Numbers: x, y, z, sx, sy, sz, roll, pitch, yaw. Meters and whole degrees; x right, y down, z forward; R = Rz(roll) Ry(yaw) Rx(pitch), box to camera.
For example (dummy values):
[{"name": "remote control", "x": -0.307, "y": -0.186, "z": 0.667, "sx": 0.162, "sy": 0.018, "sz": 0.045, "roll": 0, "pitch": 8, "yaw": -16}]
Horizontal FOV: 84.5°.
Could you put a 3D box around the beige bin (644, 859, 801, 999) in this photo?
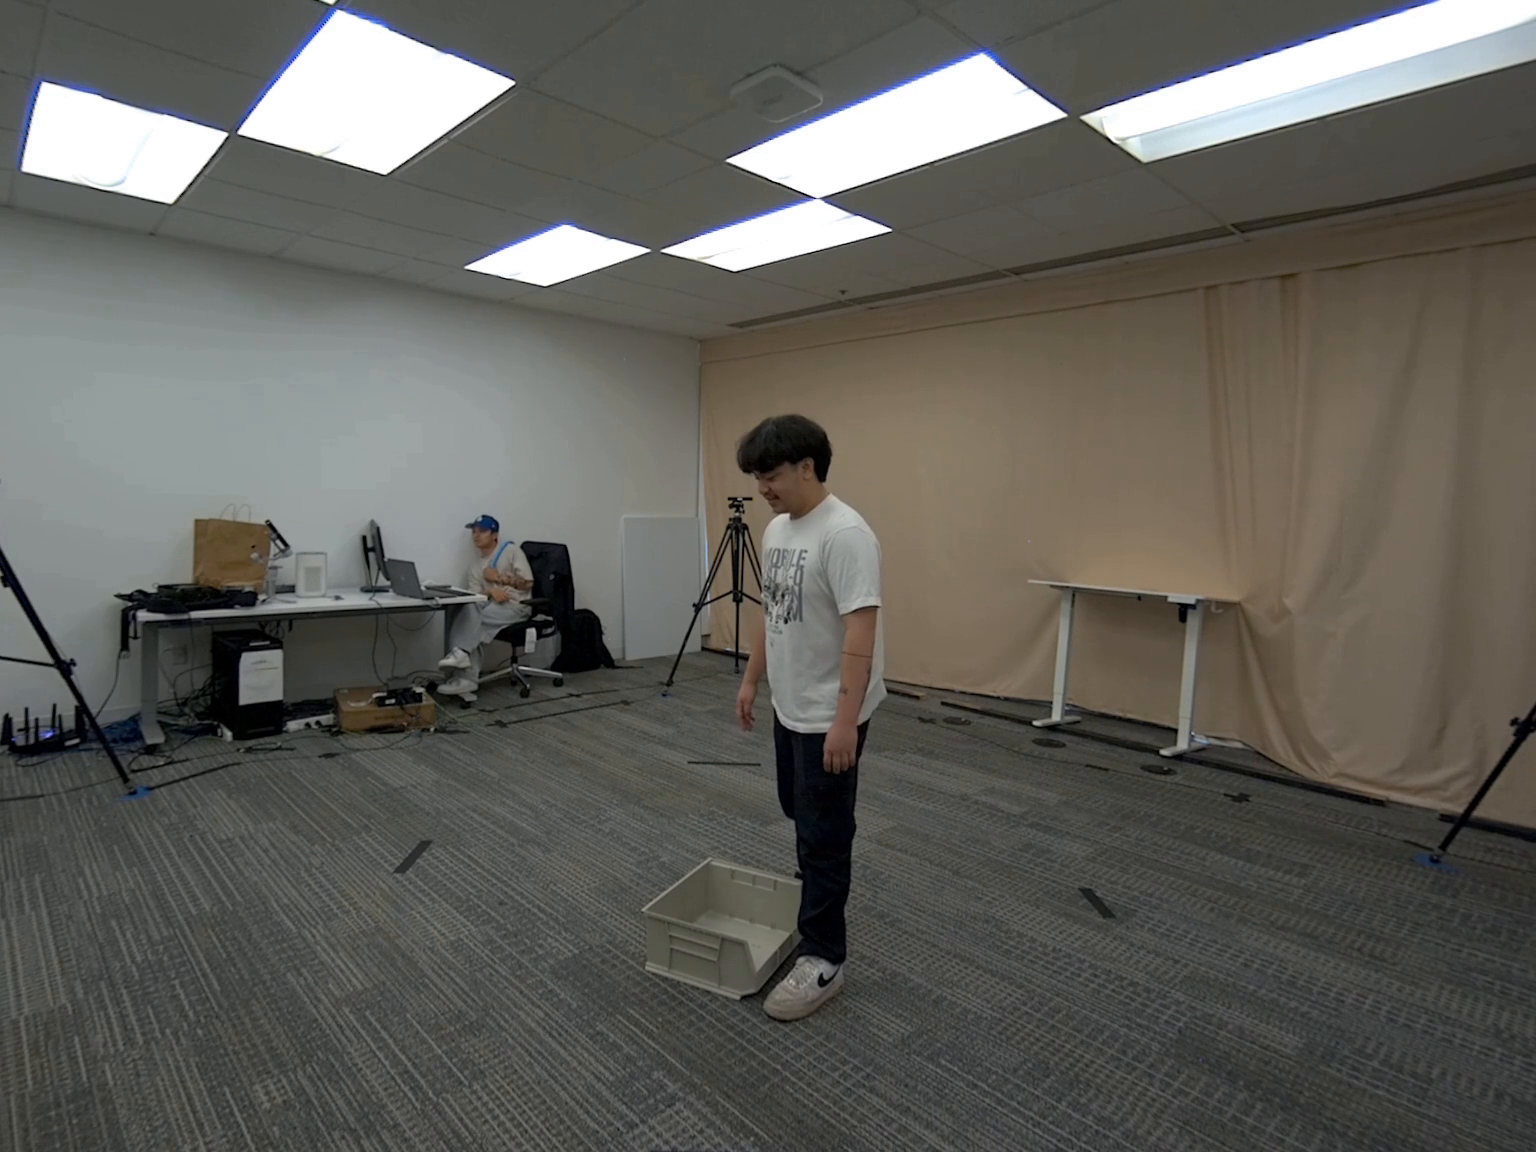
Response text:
[{"name": "beige bin", "x": -0.122, "y": 1.066, "z": 2.572, "sx": 0.385, "sy": 0.188, "sz": 0.415, "roll": 2, "pitch": 5, "yaw": 25}]
